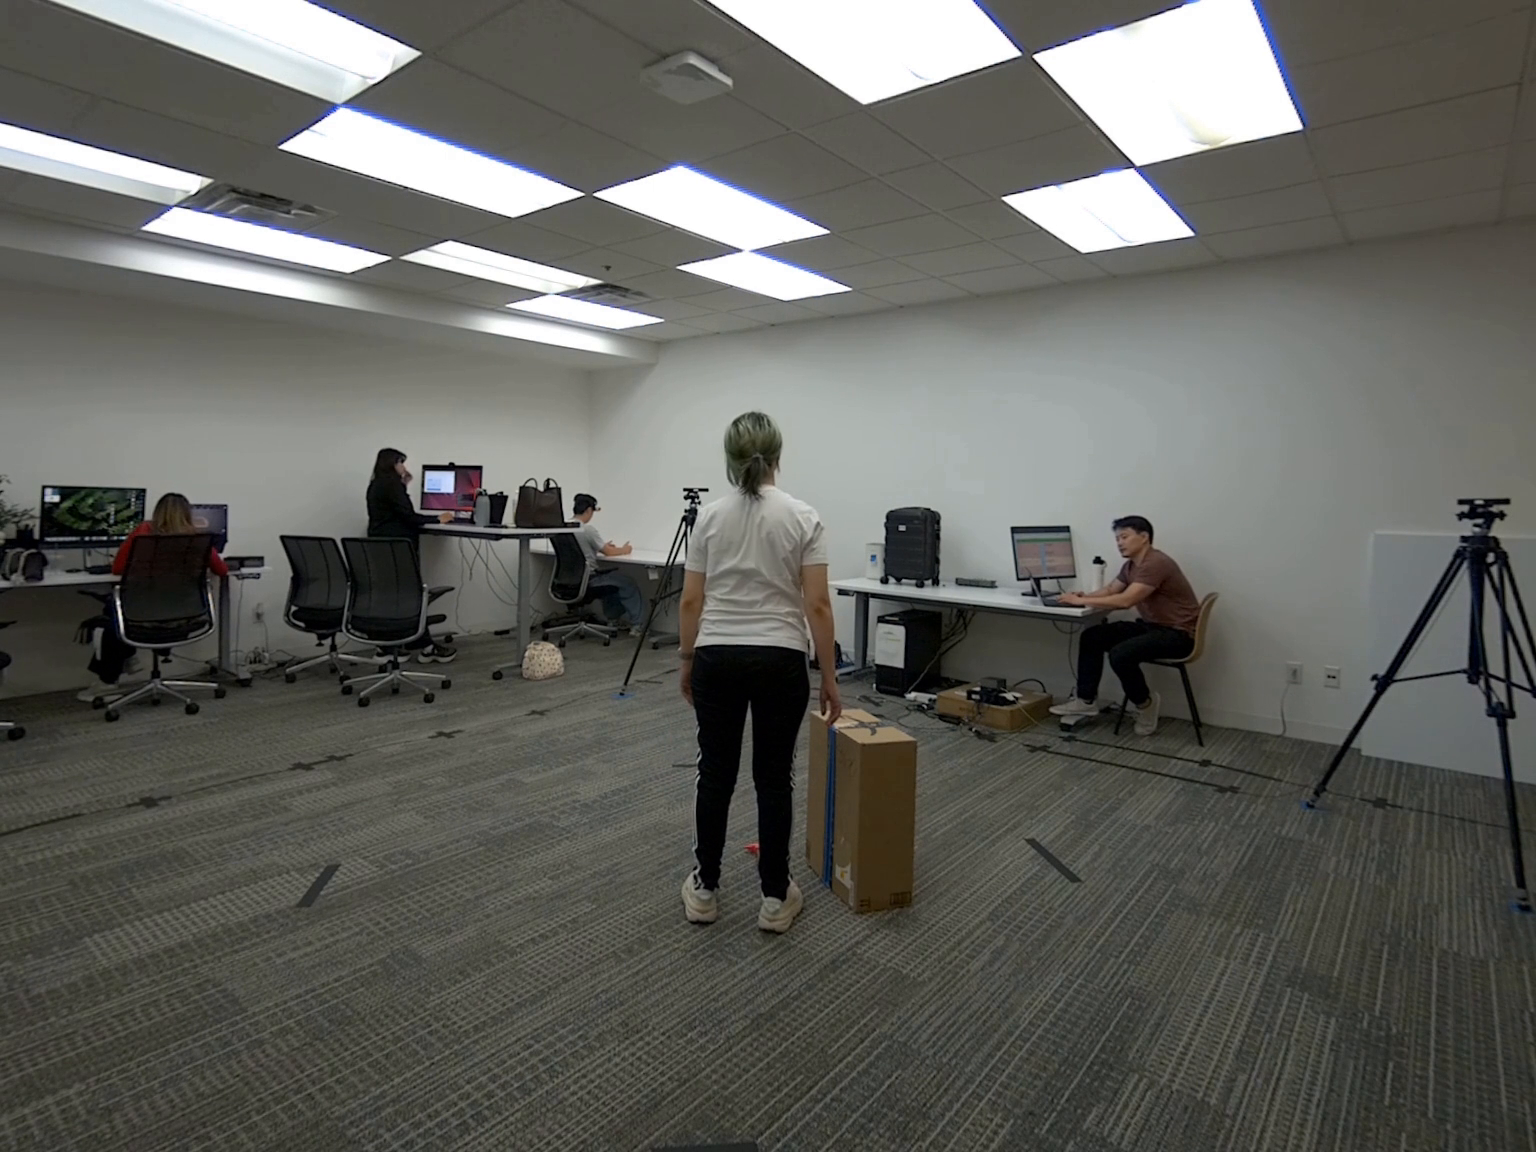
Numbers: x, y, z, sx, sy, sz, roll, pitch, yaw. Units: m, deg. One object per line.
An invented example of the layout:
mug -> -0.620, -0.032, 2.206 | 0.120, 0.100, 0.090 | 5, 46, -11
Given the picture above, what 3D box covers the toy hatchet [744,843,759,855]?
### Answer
toy hatchet -> 0.004, 1.052, 3.161 | 0.128, 0.029, 0.276 | 2, 7, -20
